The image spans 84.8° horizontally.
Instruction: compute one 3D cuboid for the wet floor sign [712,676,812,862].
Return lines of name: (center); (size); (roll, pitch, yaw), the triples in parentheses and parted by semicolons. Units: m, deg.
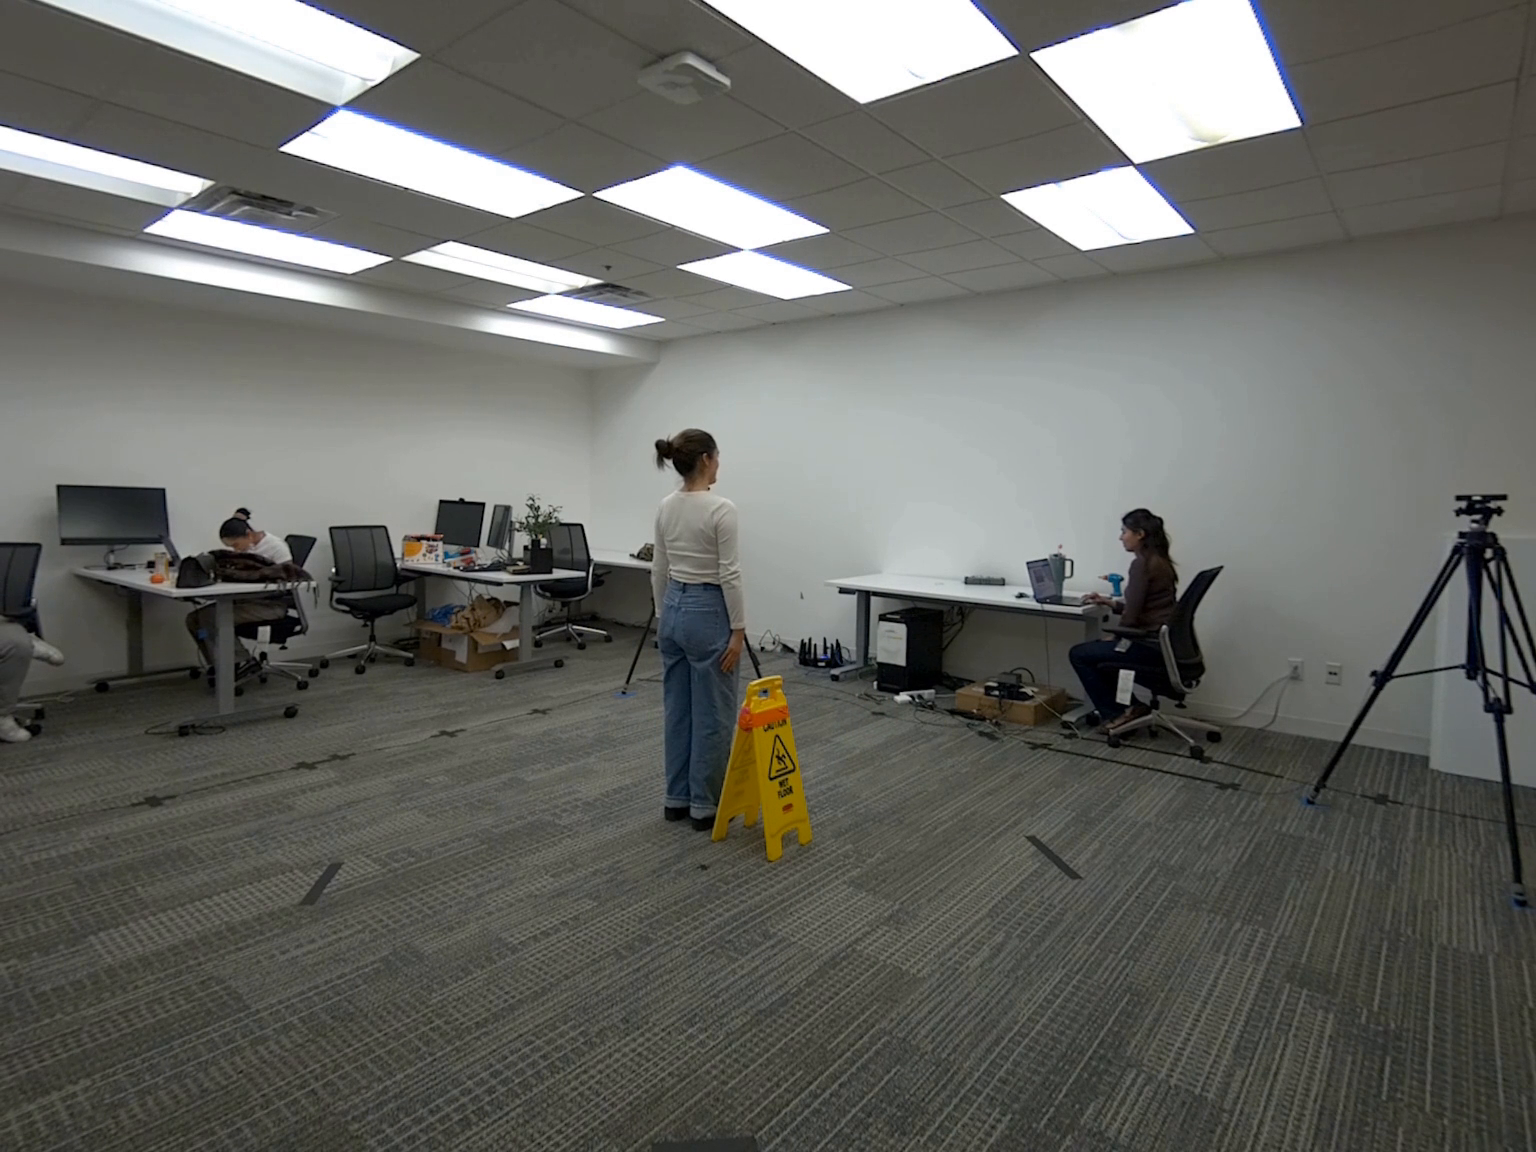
wet floor sign: (-0.022, 0.720, 3.347); (0.299, 0.644, 0.274); (4, 5, 39)
